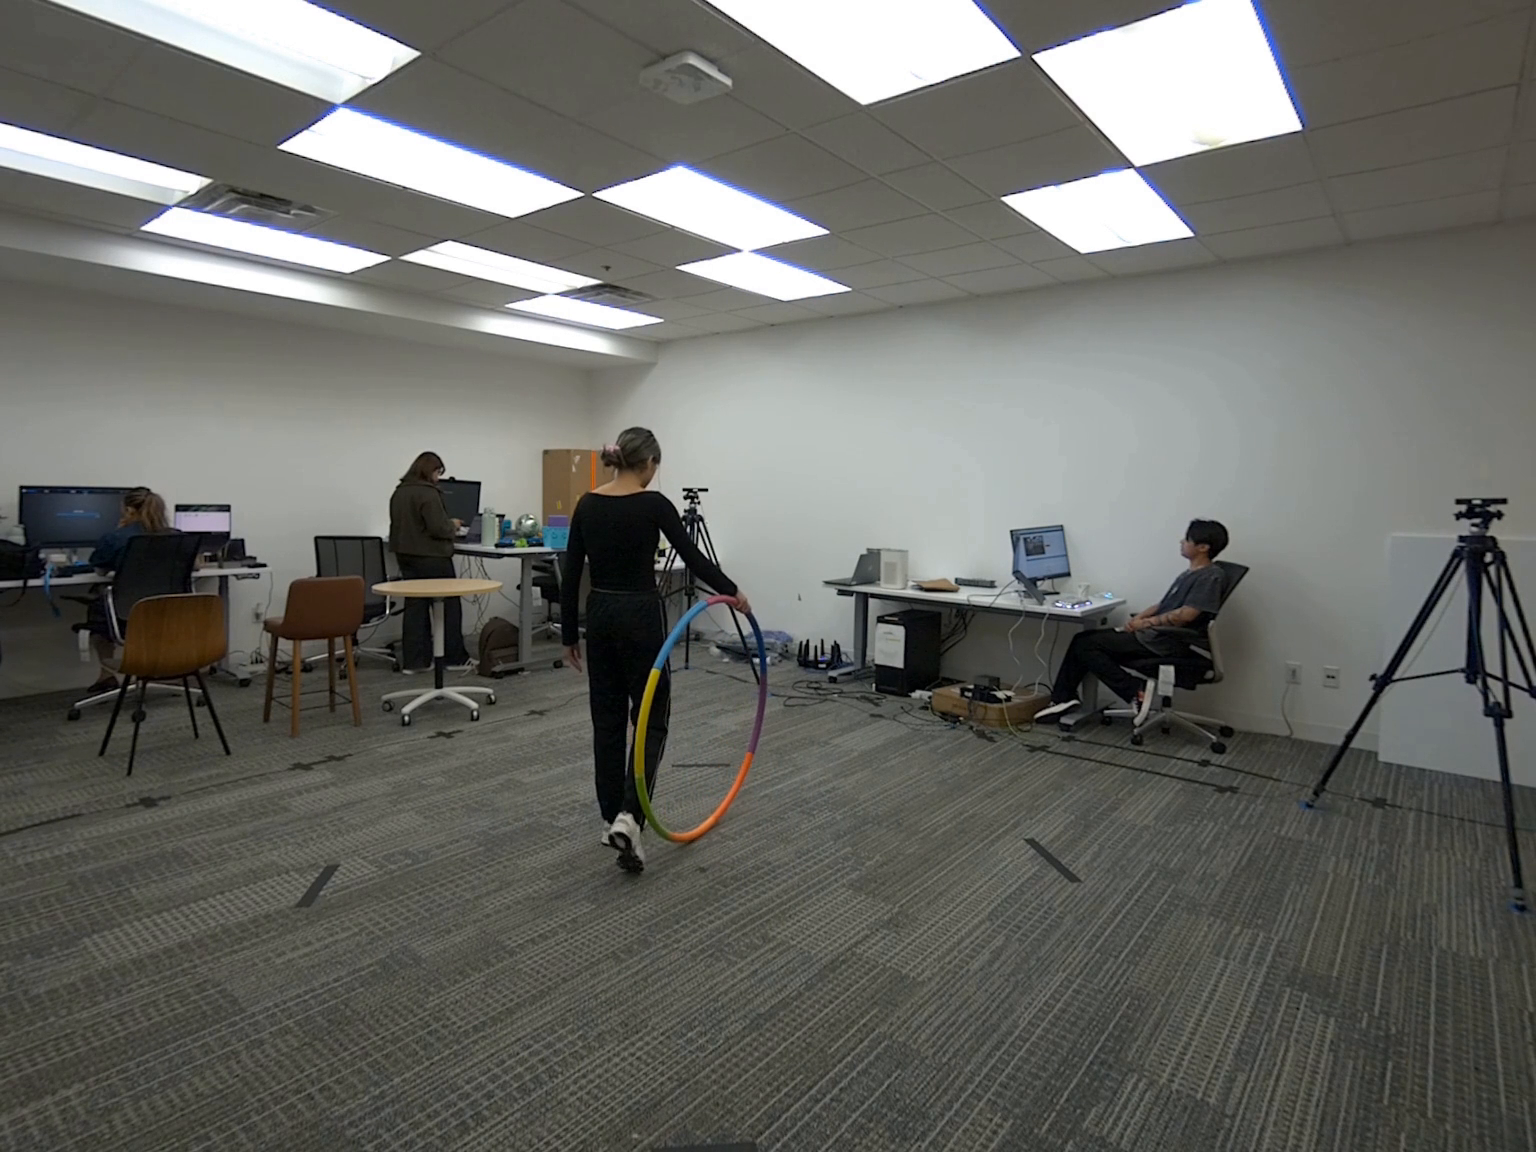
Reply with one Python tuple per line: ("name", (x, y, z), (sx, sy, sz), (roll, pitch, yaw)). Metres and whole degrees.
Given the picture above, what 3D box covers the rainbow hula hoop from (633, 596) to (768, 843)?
("rainbow hula hoop", (-0.242, 0.556, 3.379), (0.036, 0.974, 0.955), (8, 7, 27))
